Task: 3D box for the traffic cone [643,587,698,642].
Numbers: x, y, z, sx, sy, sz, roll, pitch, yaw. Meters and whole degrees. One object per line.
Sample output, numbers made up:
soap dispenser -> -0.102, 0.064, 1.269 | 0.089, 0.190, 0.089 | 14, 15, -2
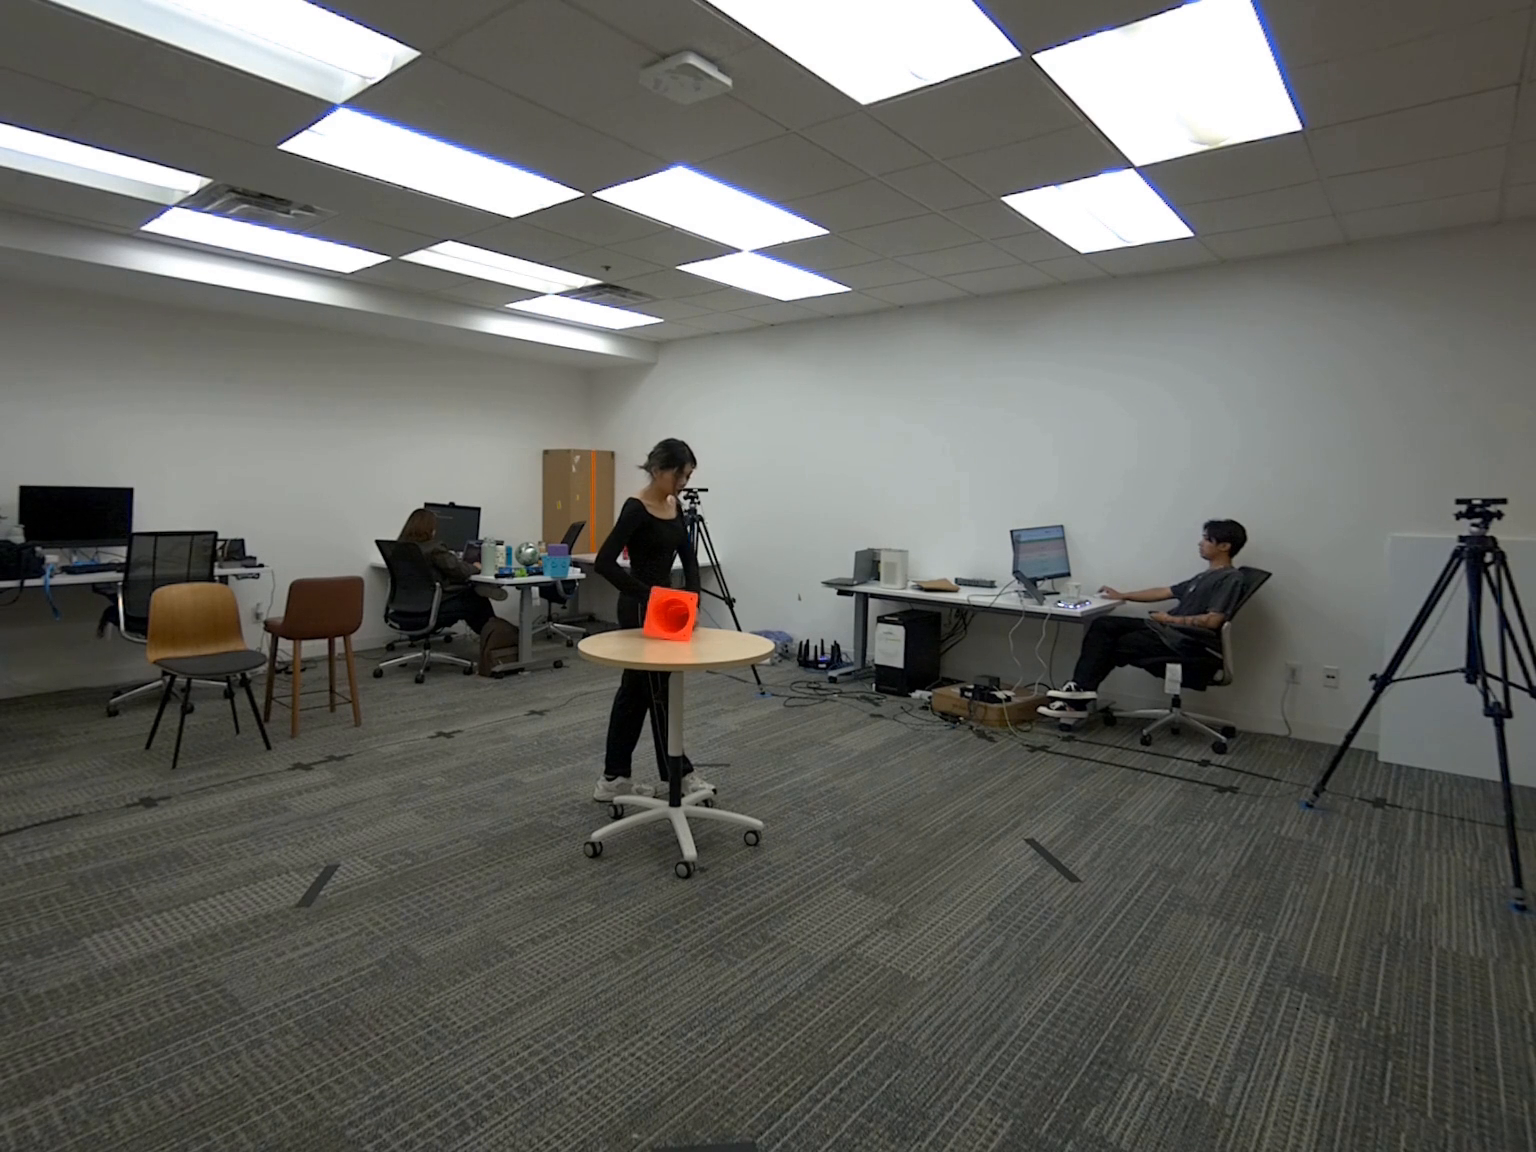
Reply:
traffic cone -> -0.383, 0.167, 3.585 | 0.205, 0.206, 0.379 | 6, -4, 4
